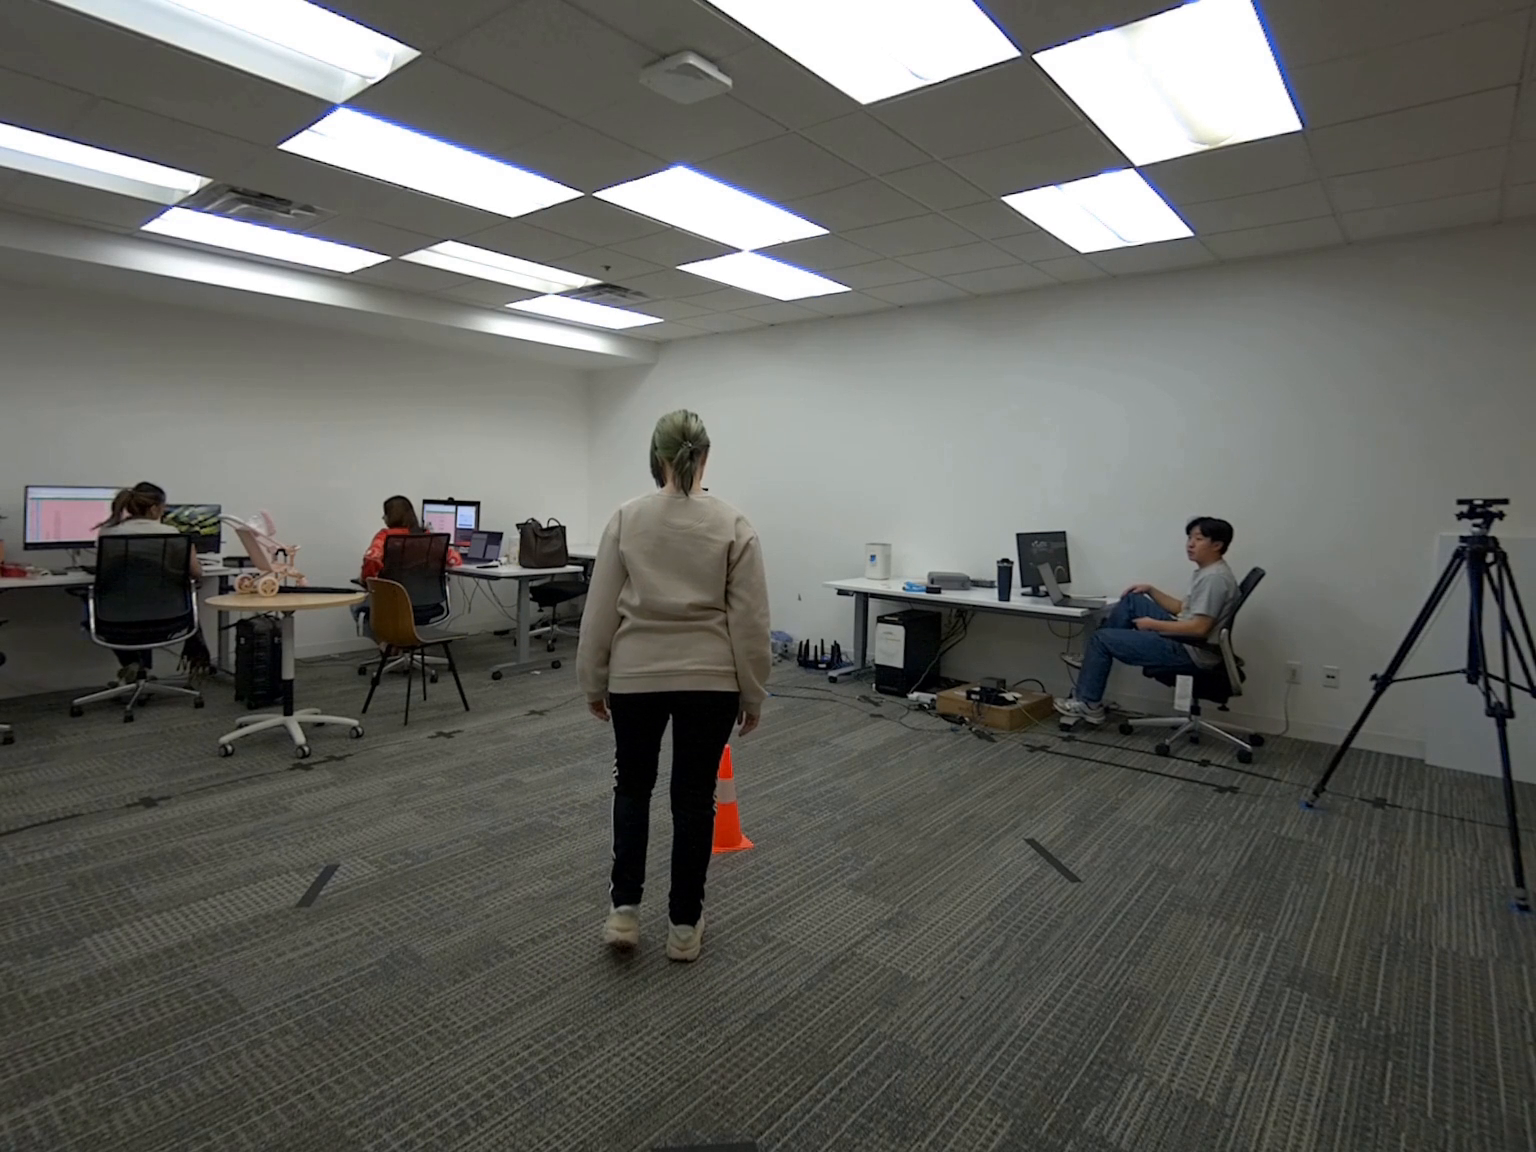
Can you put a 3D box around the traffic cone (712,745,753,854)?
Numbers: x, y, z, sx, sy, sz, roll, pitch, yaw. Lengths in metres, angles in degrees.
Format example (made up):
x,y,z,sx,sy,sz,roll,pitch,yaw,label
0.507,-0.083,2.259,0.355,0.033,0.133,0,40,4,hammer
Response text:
x,y,z,sx,sy,sz,roll,pitch,yaw,label
-0.177,0.856,3.366,0.200,0.382,0.209,2,4,-14,traffic cone
